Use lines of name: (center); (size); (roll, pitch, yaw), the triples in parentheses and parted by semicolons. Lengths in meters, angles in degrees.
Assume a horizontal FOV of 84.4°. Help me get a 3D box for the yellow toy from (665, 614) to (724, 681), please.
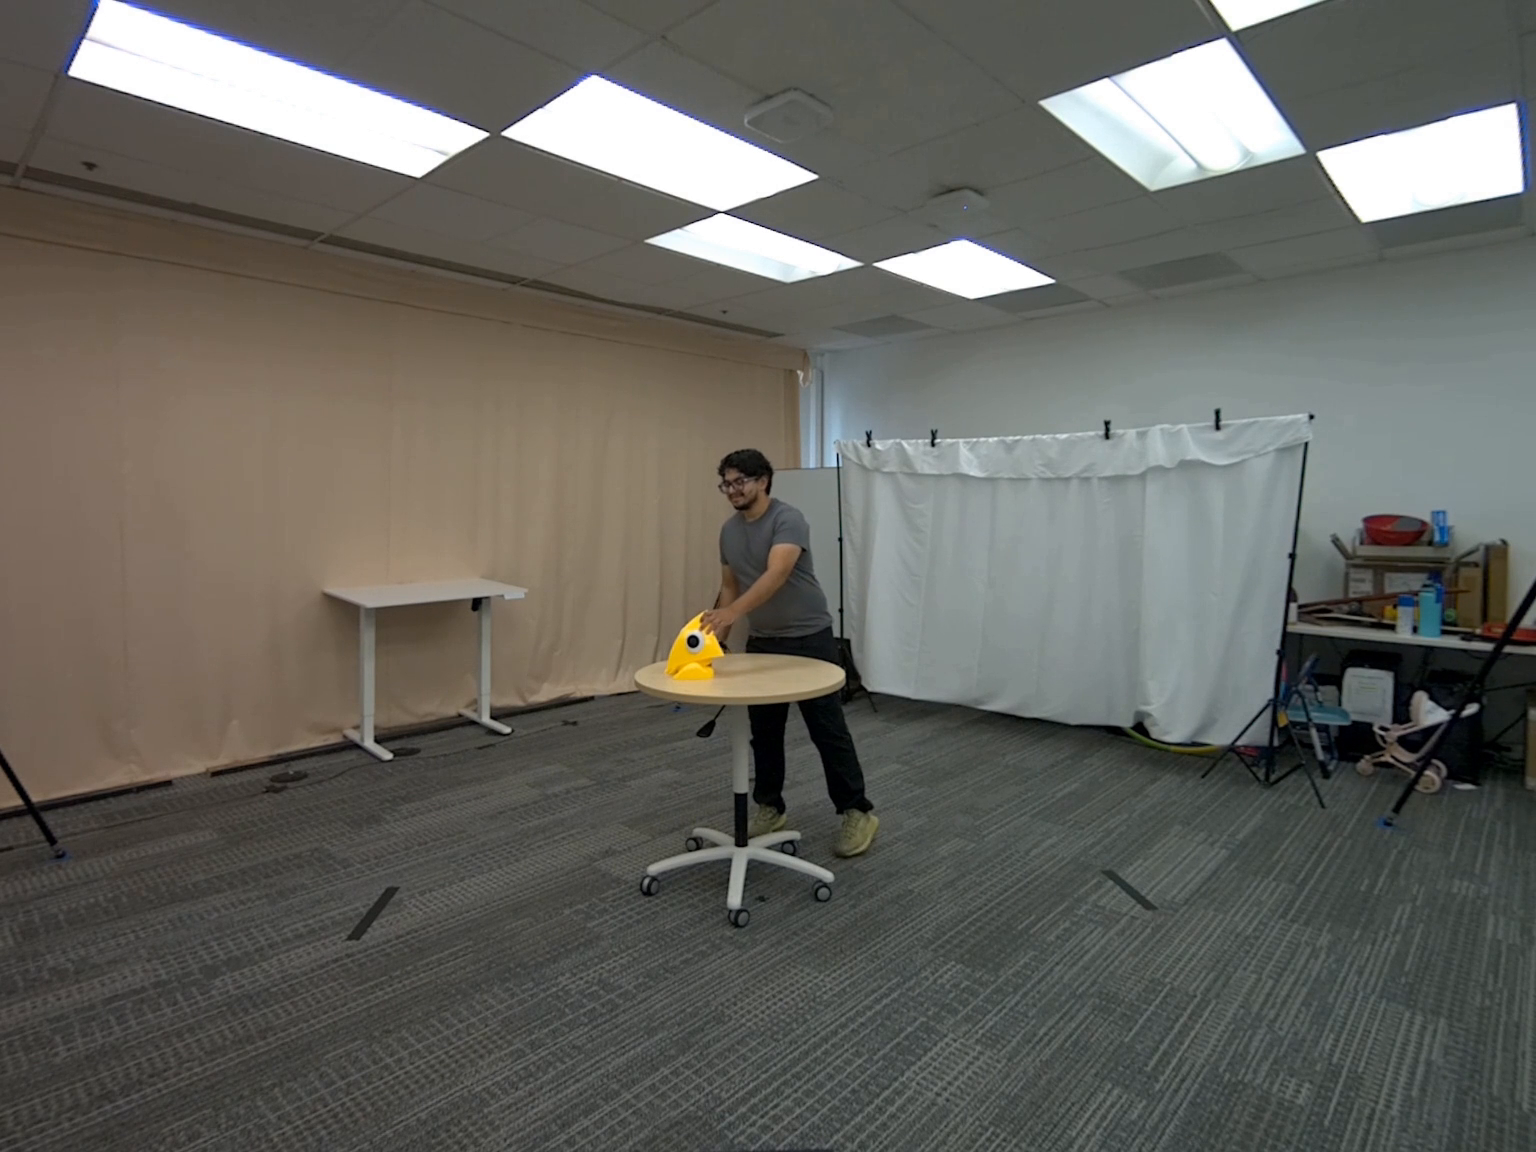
yellow toy: (-0.271, 0.242, 3.051); (0.189, 0.230, 0.209); (-2, 5, -19)
